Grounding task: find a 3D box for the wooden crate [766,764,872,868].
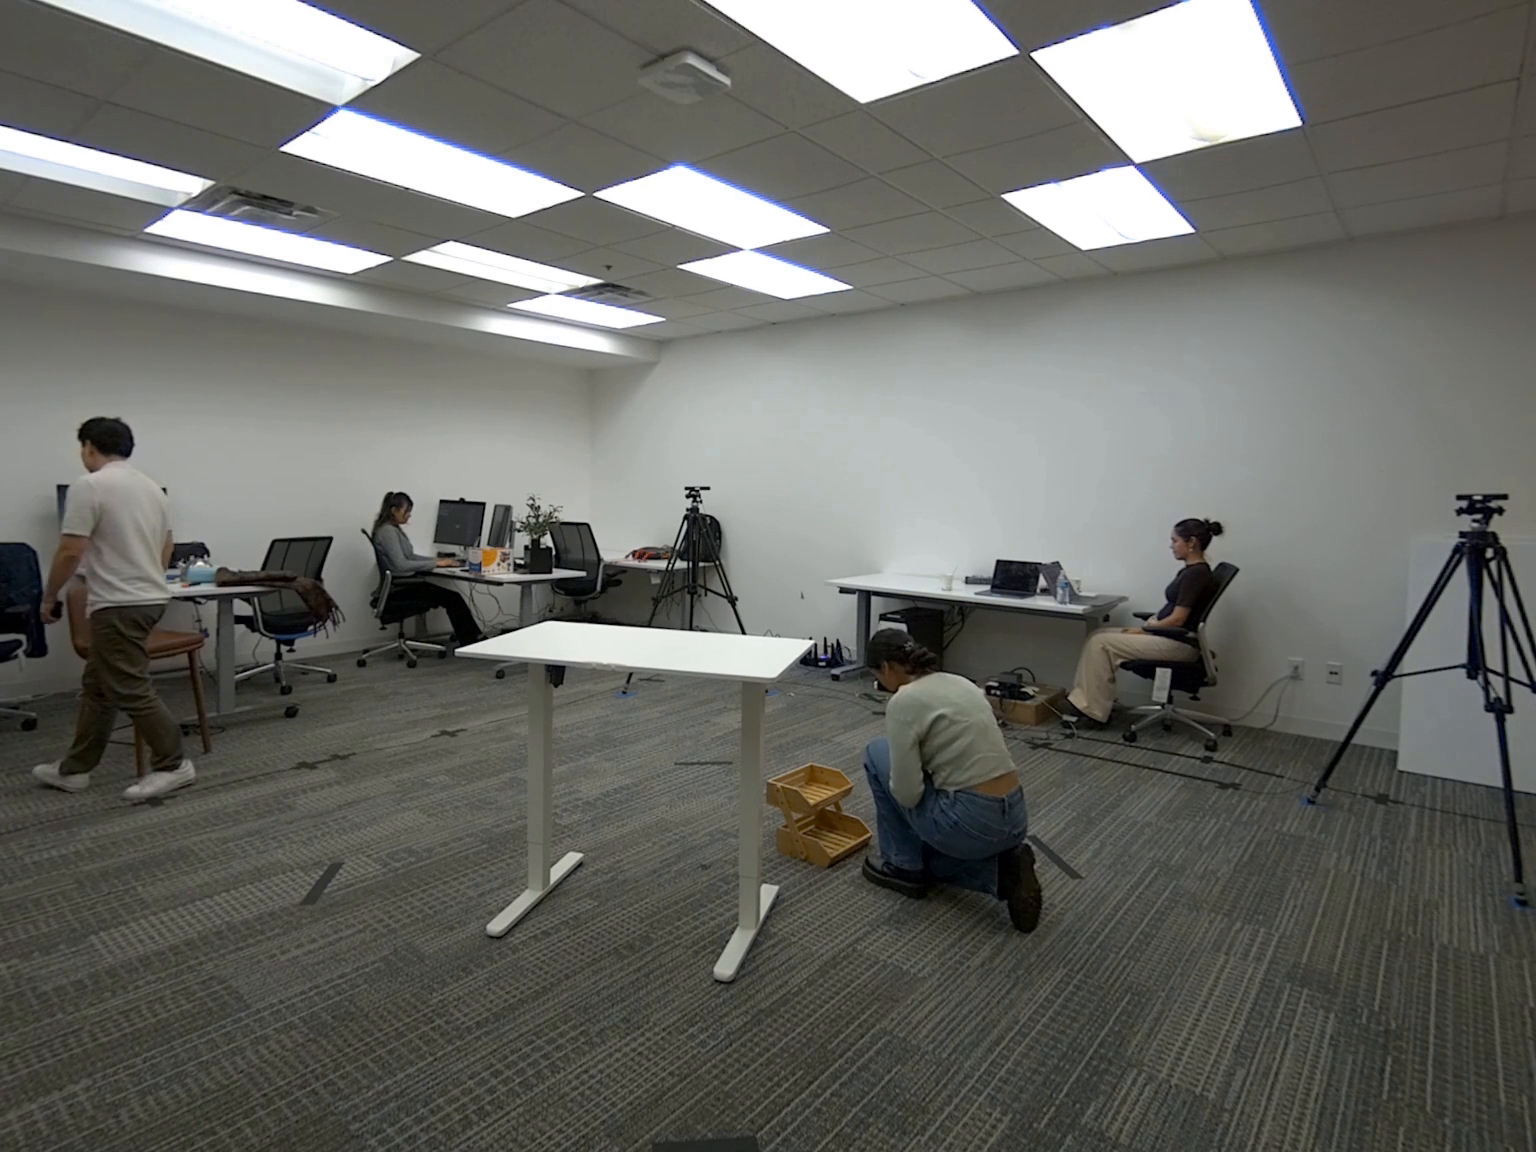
[{"bbox_3d":[0.195,0.916,3.317,0.312,0.272,0.315,3,5,39],"label":"wooden crate"}]
